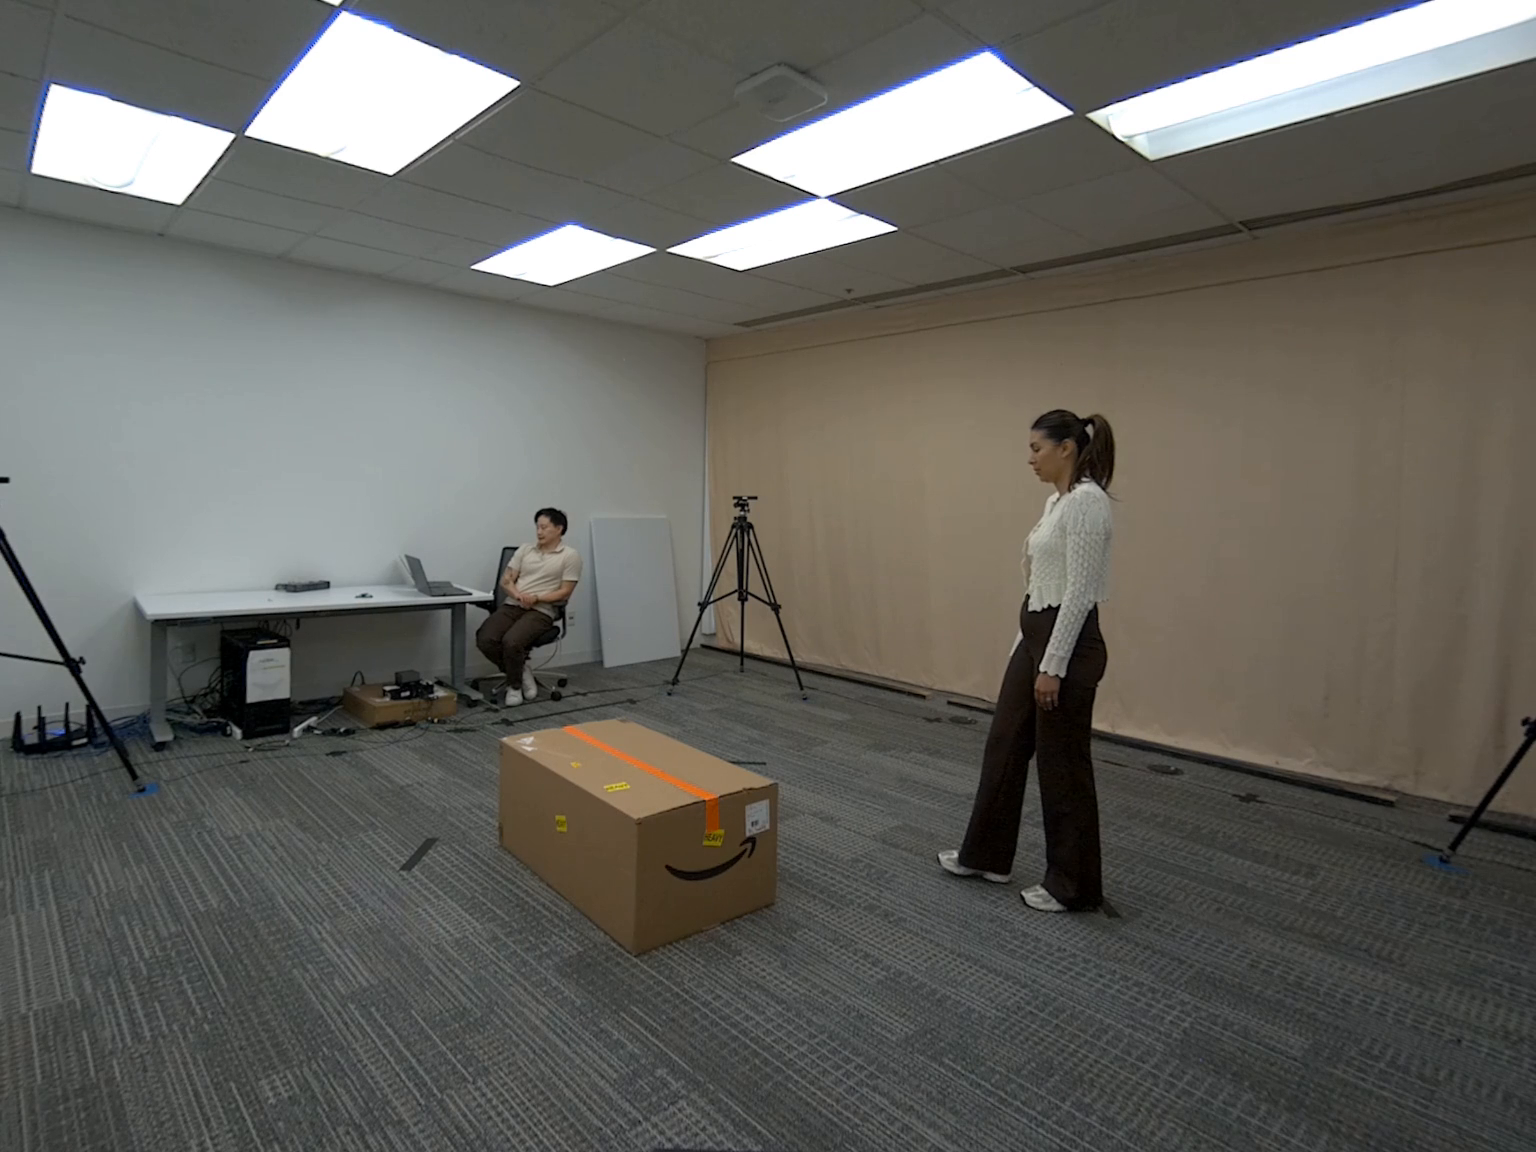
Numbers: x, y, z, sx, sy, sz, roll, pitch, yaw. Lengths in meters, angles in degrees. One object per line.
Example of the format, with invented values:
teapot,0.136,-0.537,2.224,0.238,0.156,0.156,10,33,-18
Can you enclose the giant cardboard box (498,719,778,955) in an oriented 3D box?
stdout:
giant cardboard box,-0.518,0.879,3.098,0.564,0.425,1.052,-3,6,-40
